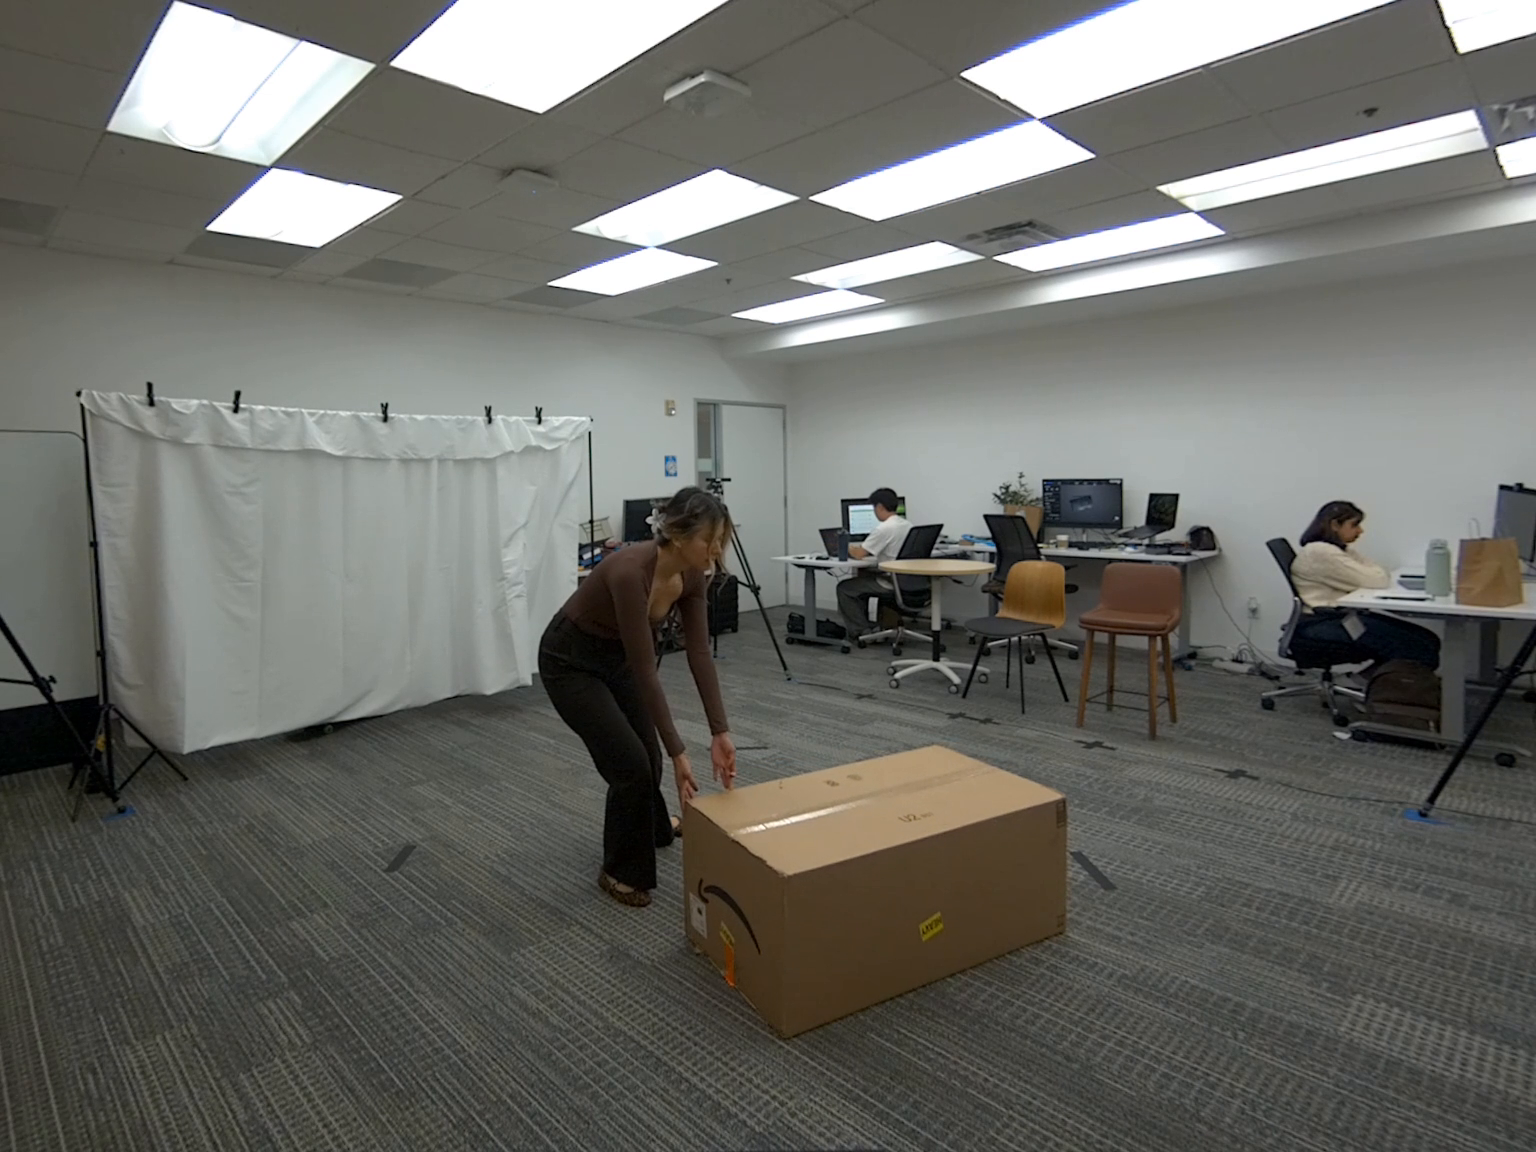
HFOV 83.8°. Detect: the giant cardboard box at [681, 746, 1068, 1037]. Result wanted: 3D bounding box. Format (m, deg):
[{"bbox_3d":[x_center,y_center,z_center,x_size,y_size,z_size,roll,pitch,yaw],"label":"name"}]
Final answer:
[{"bbox_3d":[0.325,0.883,2.594,1.004,0.444,0.601,-5,8,-29],"label":"giant cardboard box"}]
